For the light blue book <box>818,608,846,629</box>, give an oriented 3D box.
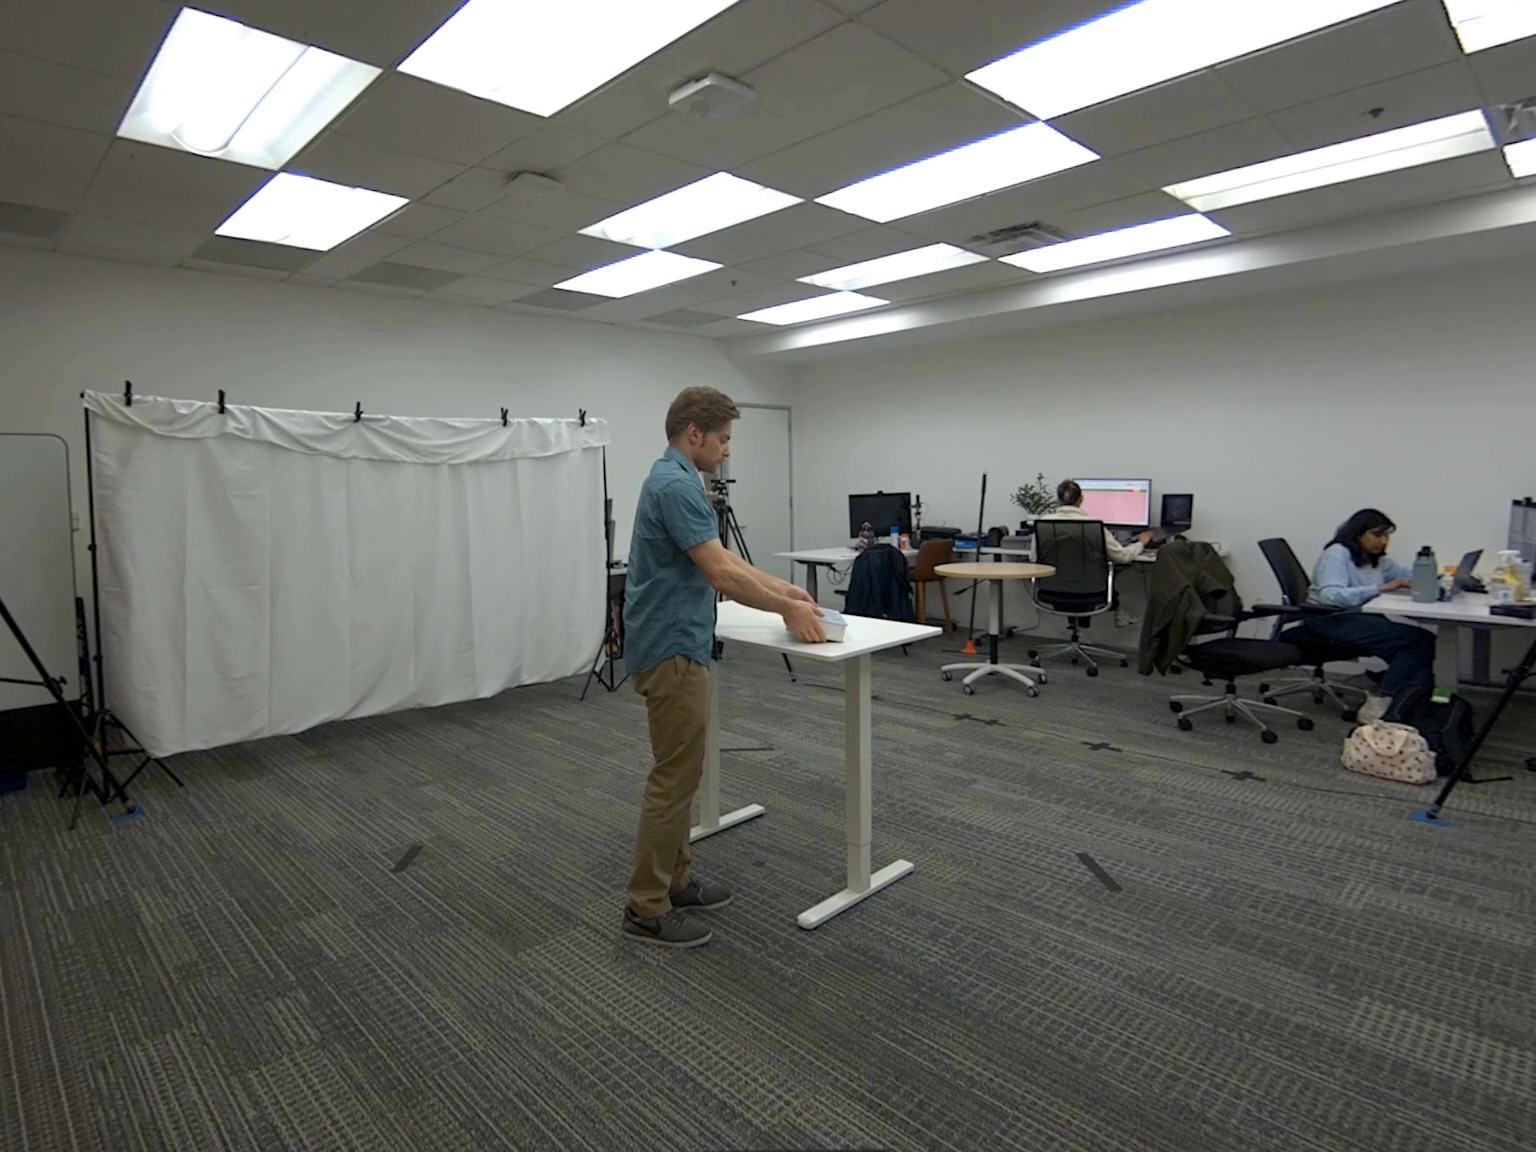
[{"bbox_3d":[0.152,0.149,2.807,0.191,0.059,0.262,10,6,-2],"label":"light blue book"}]
